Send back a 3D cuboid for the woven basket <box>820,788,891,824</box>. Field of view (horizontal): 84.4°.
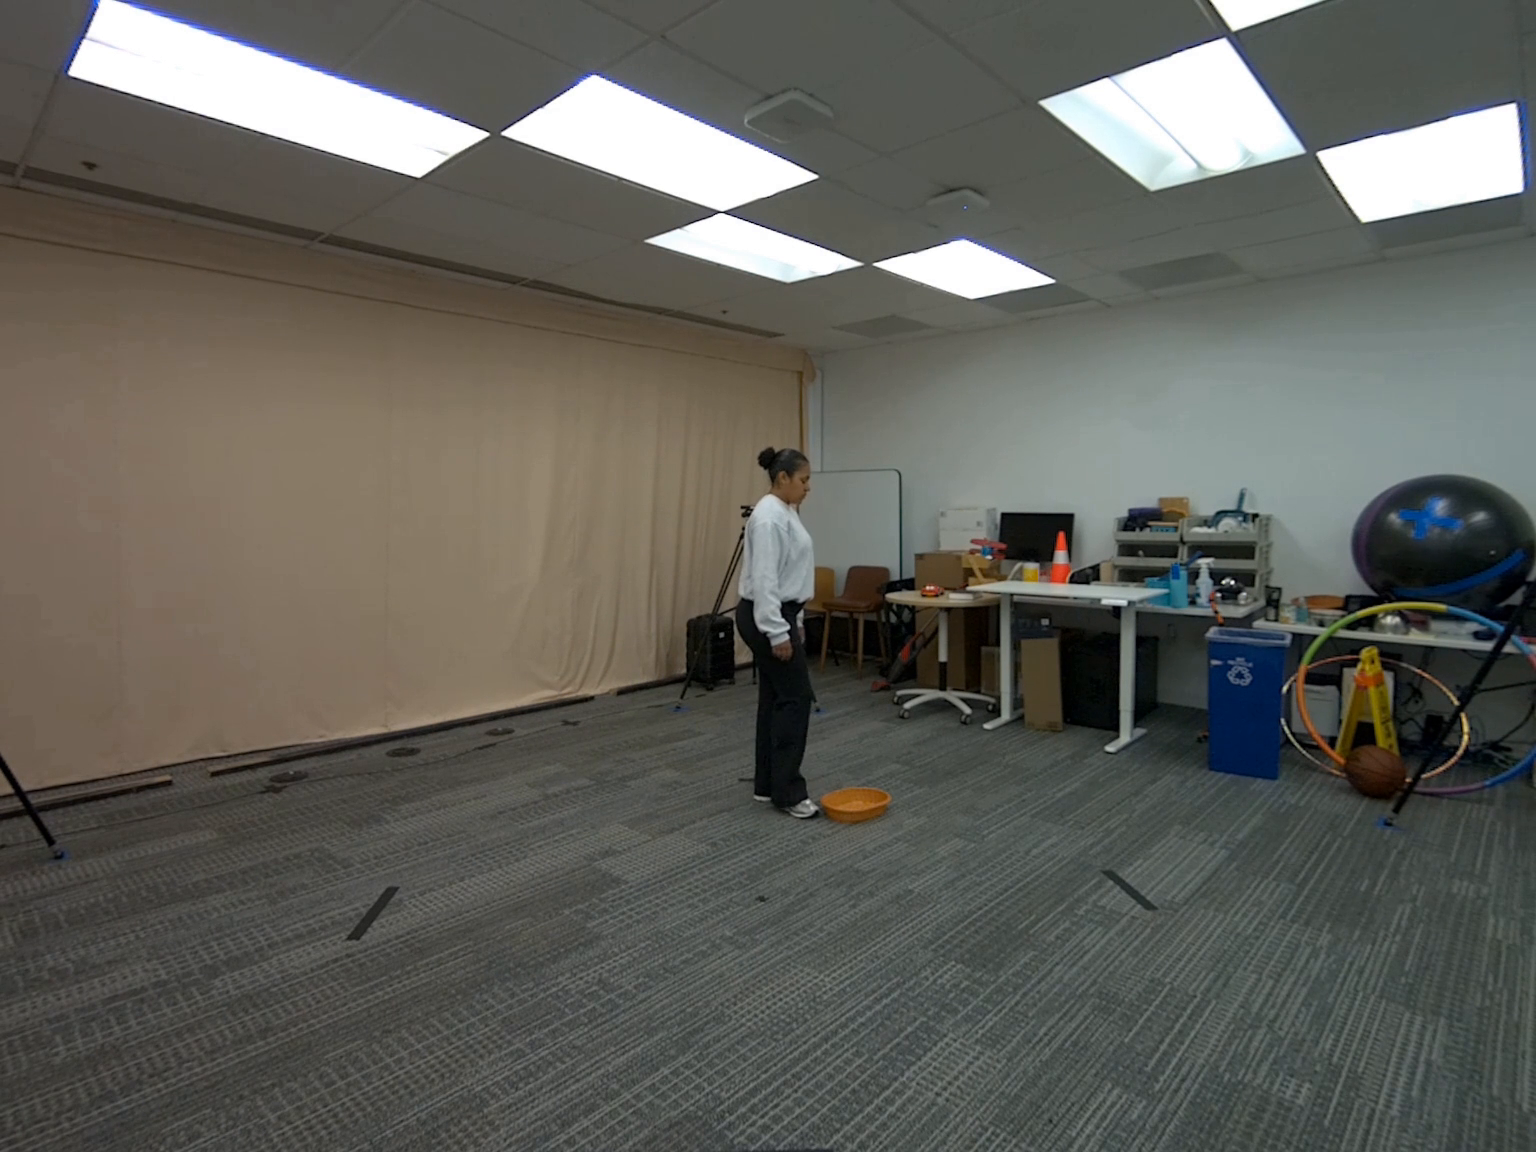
[{"bbox_3d":[0.401,1.037,3.809,0.340,0.073,0.261,-5,7,-38],"label":"woven basket"}]
